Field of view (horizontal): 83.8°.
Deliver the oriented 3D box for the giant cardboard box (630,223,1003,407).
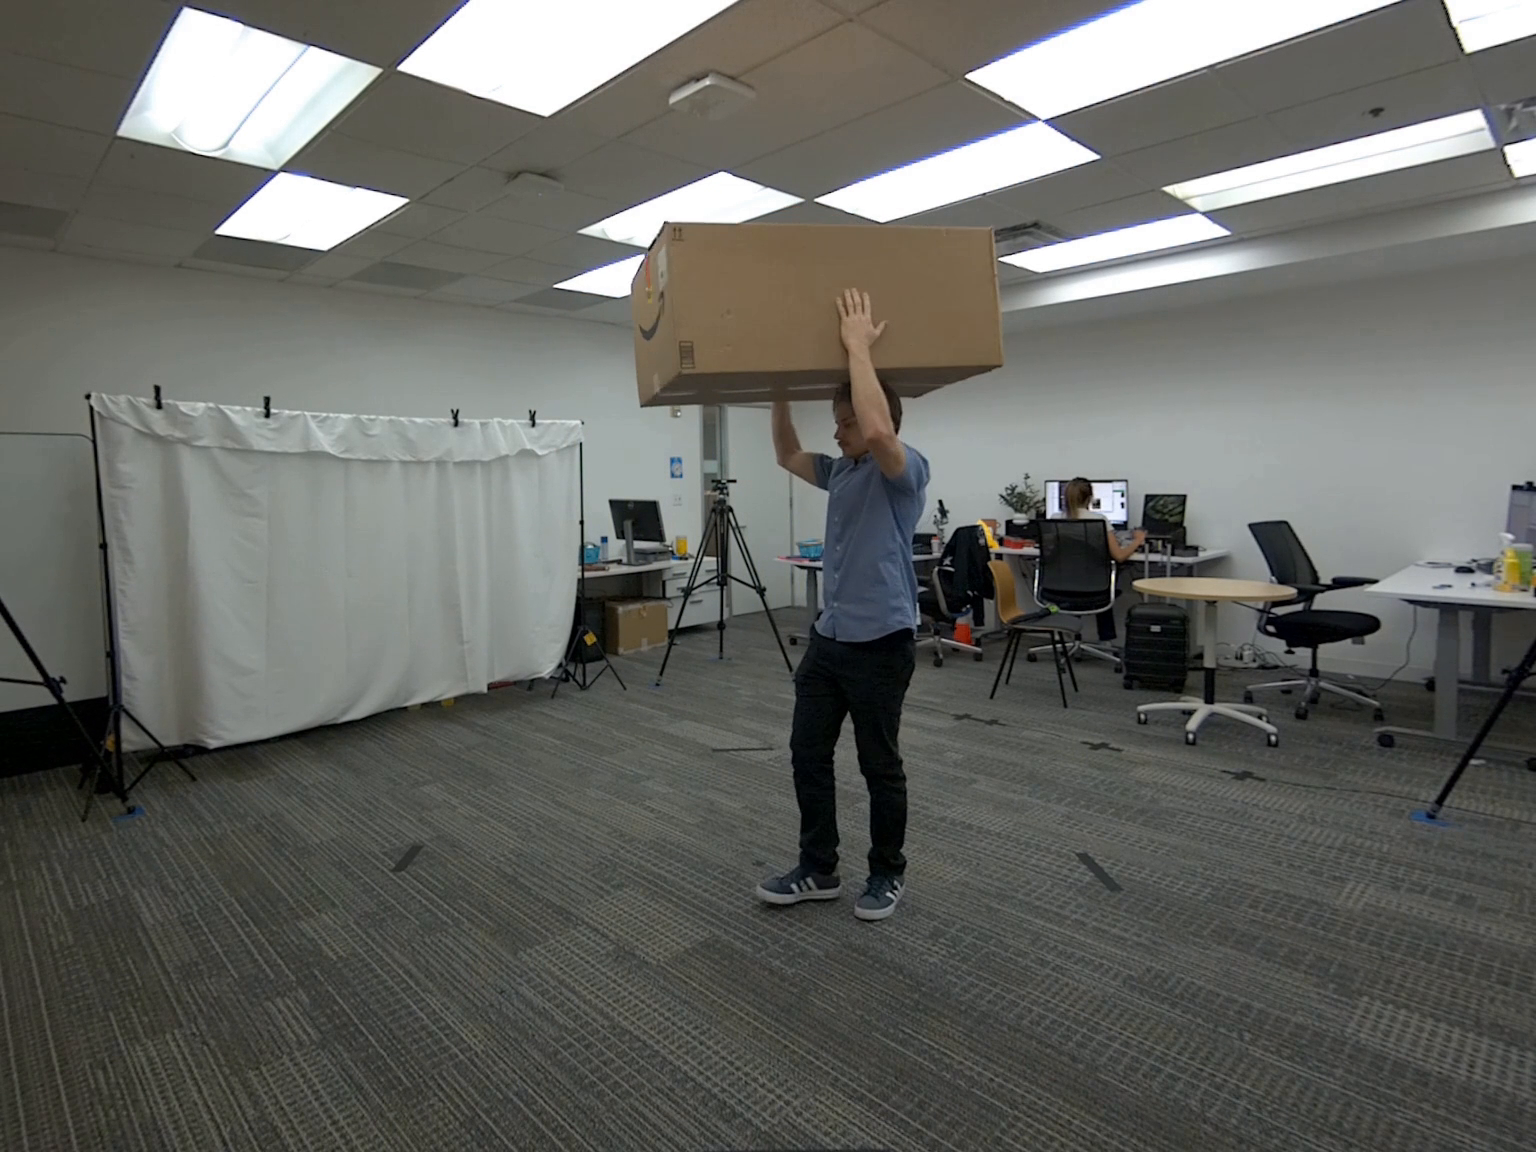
[{"bbox_3d":[0.126,-0.808,2.723,1.011,0.426,0.586,-6,2,-17],"label":"giant cardboard box"}]
